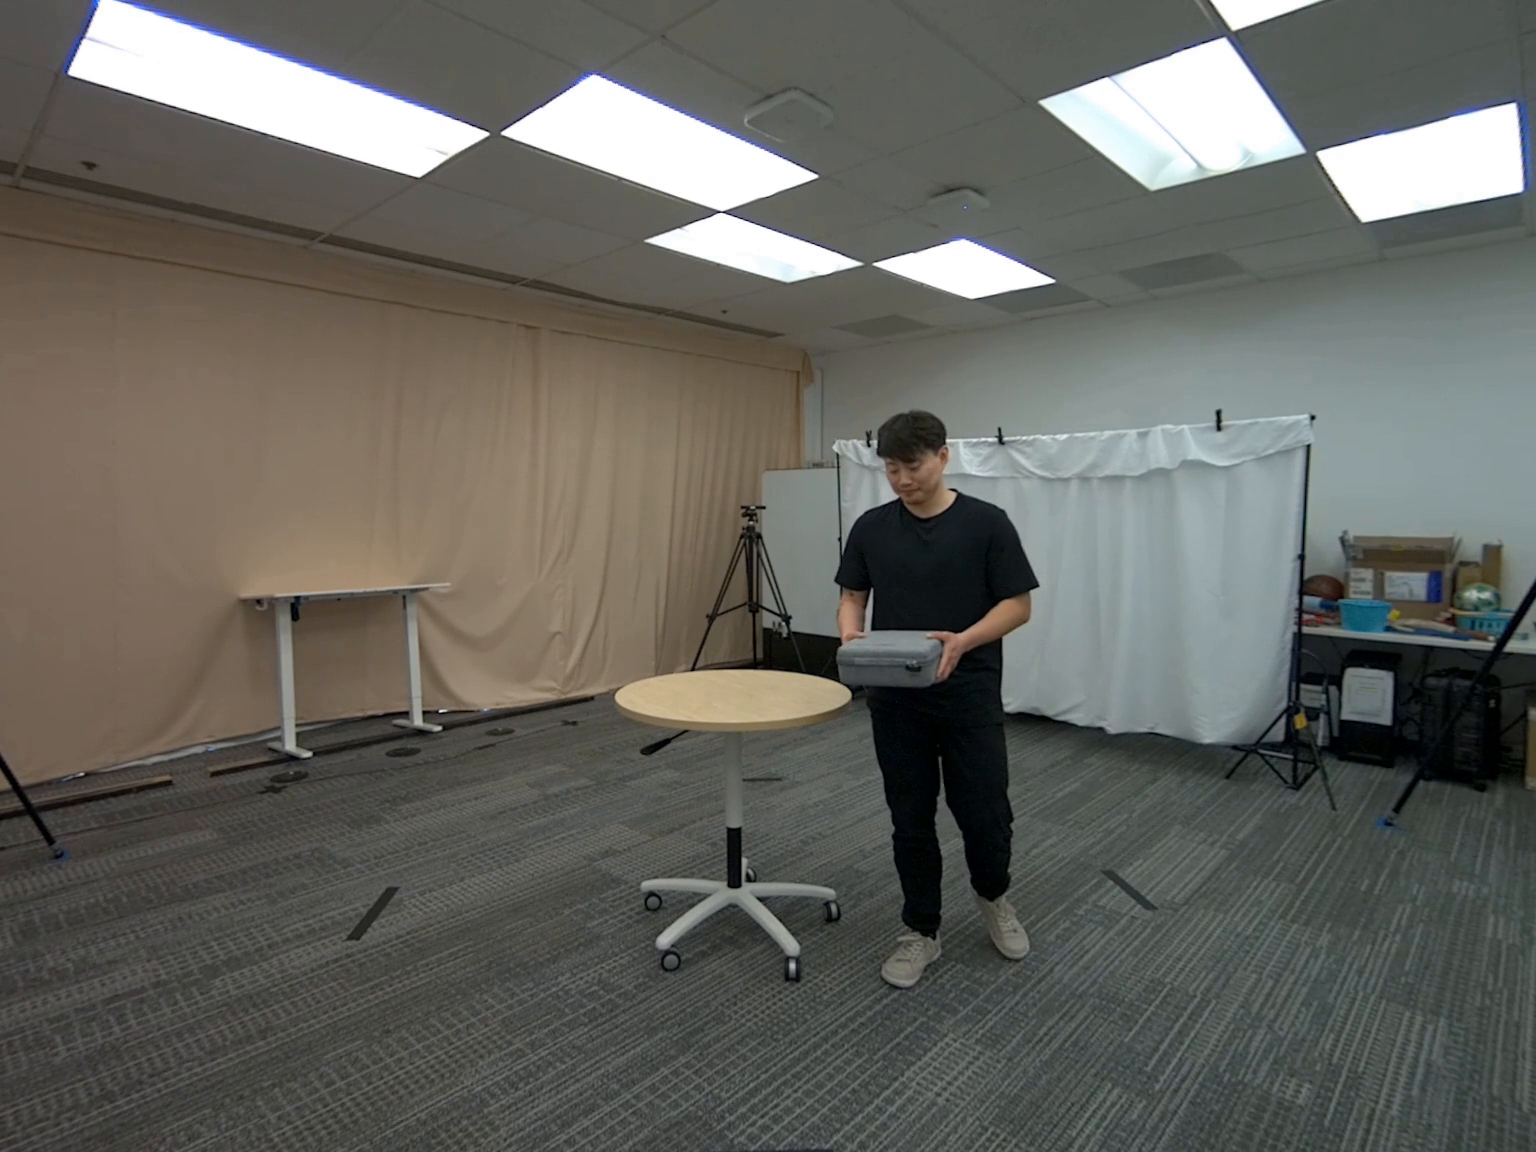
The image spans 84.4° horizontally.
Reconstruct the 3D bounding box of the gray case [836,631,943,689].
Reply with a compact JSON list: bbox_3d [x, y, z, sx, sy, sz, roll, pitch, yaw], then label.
[{"bbox_3d":[0.355,0.223,2.288,0.263,0.104,0.255,-2,8,27],"label":"gray case"}]
